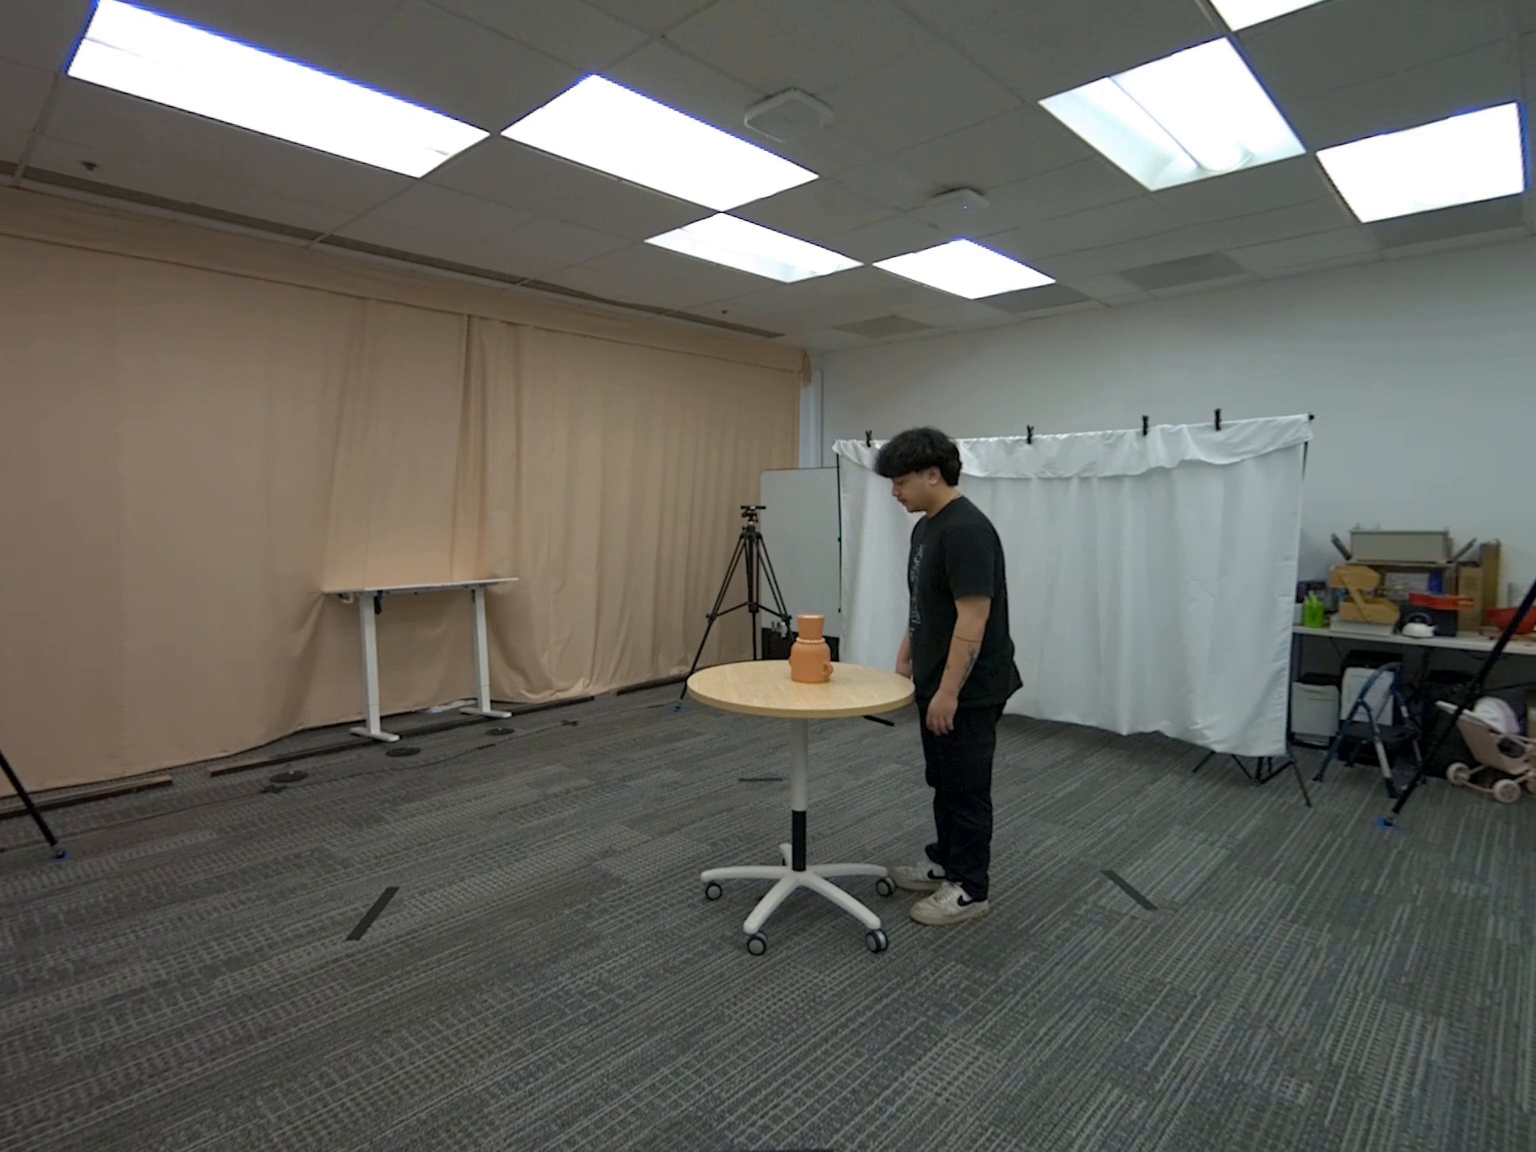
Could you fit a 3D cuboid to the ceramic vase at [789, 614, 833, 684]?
[{"bbox_3d":[0.154,0.249,2.900,0.160,0.219,0.134,0,4,7],"label":"ceramic vase"}]
